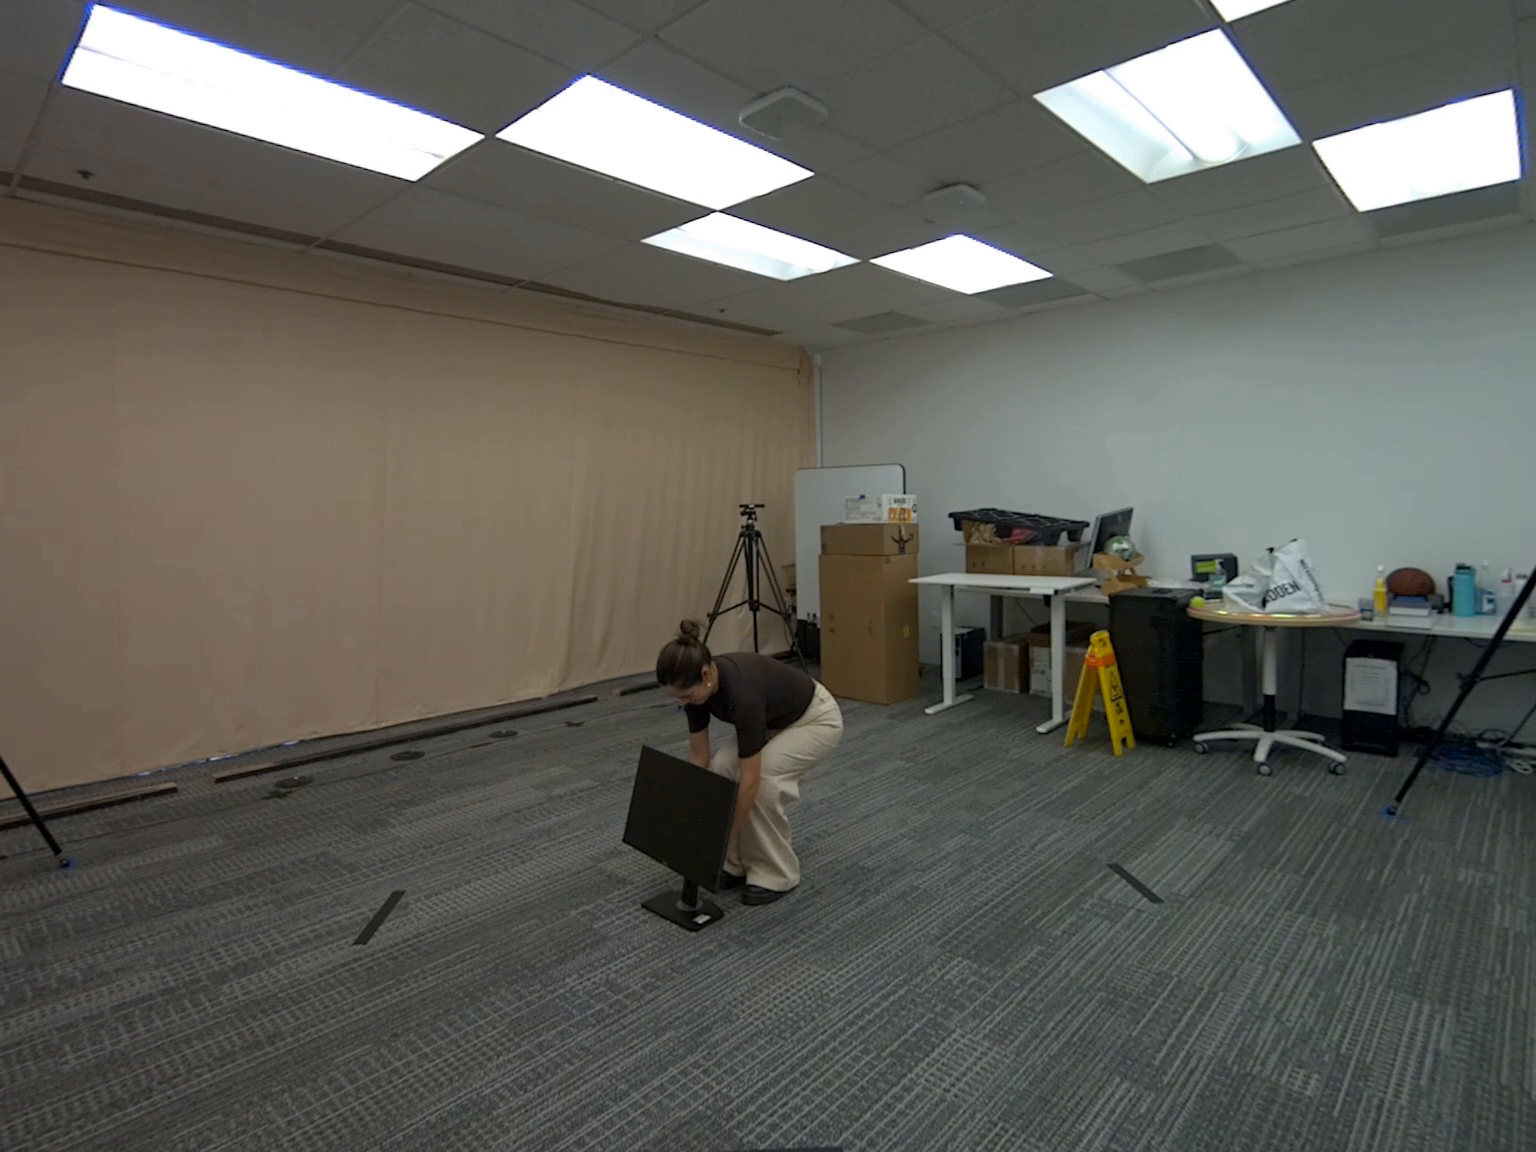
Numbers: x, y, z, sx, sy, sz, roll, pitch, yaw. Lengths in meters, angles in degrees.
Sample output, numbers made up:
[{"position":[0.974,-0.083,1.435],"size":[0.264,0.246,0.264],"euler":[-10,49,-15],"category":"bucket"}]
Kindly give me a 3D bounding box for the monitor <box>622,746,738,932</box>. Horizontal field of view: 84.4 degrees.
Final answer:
[{"position":[-0.285,0.901,2.898],"size":[0.181,0.522,0.557],"euler":[-2,4,-44],"category":"monitor"}]
